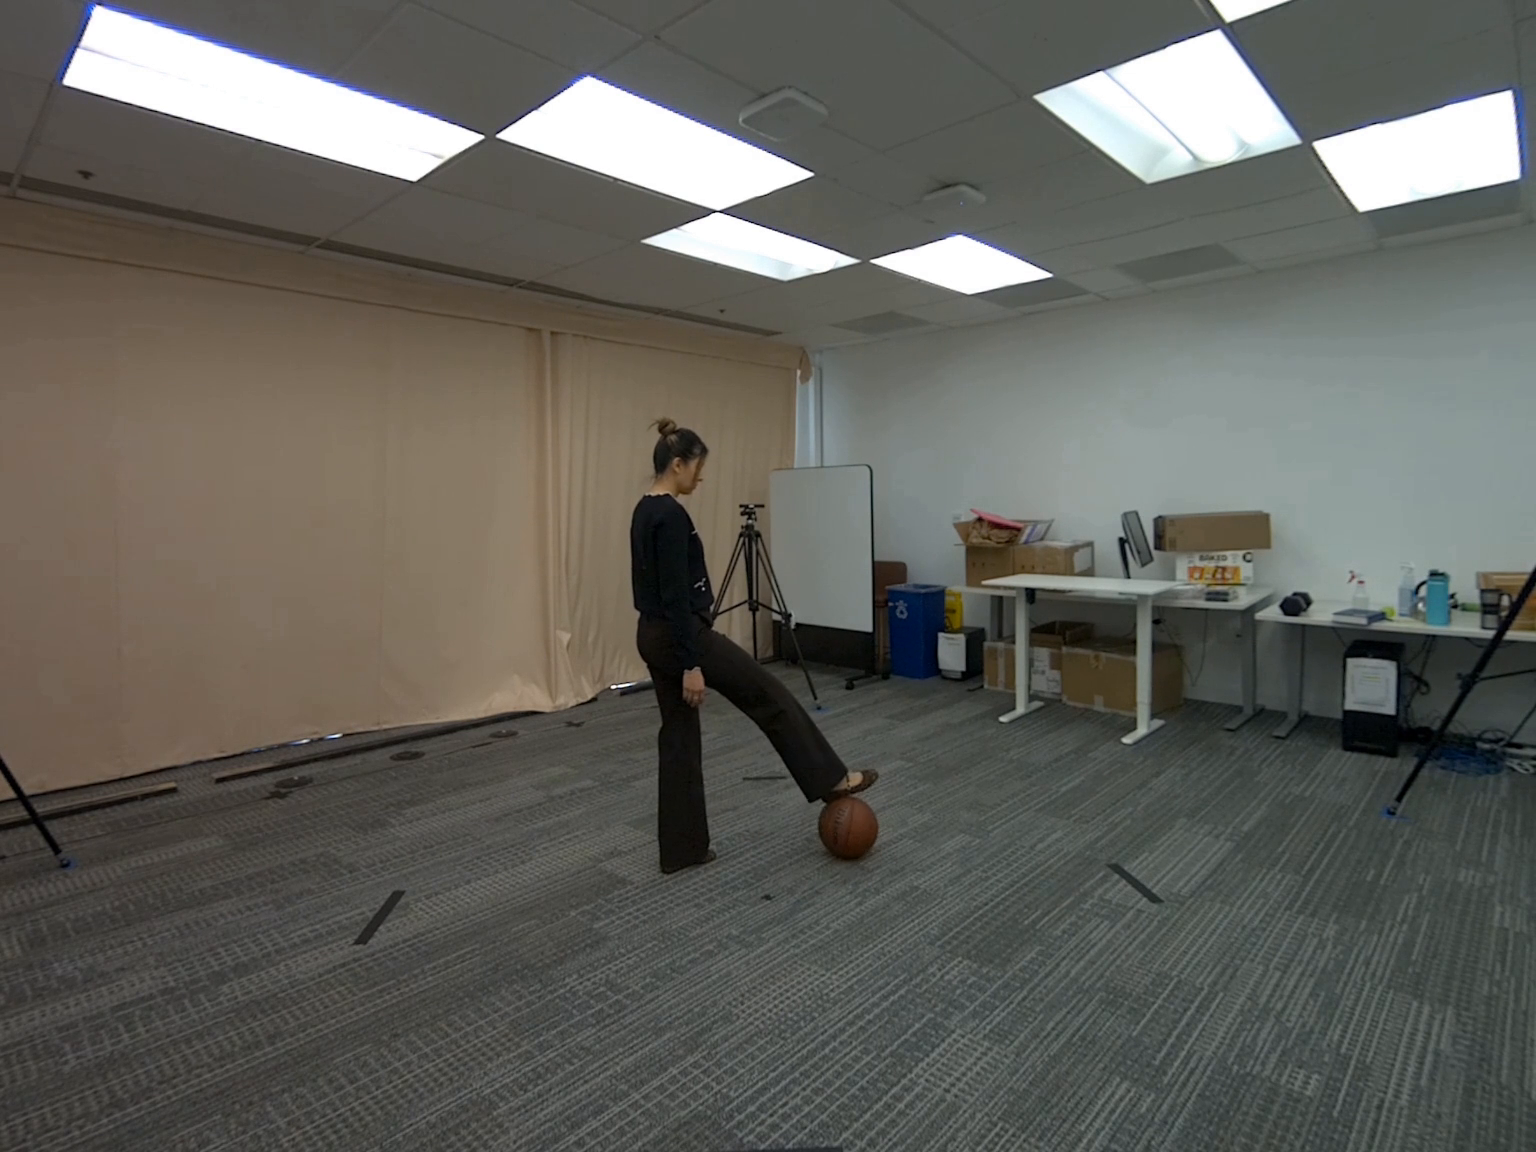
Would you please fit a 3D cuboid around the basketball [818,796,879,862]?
[{"bbox_3d":[0.317,0.986,3.315,0.236,0.235,0.237,-1,4,-2],"label":"basketball"}]
